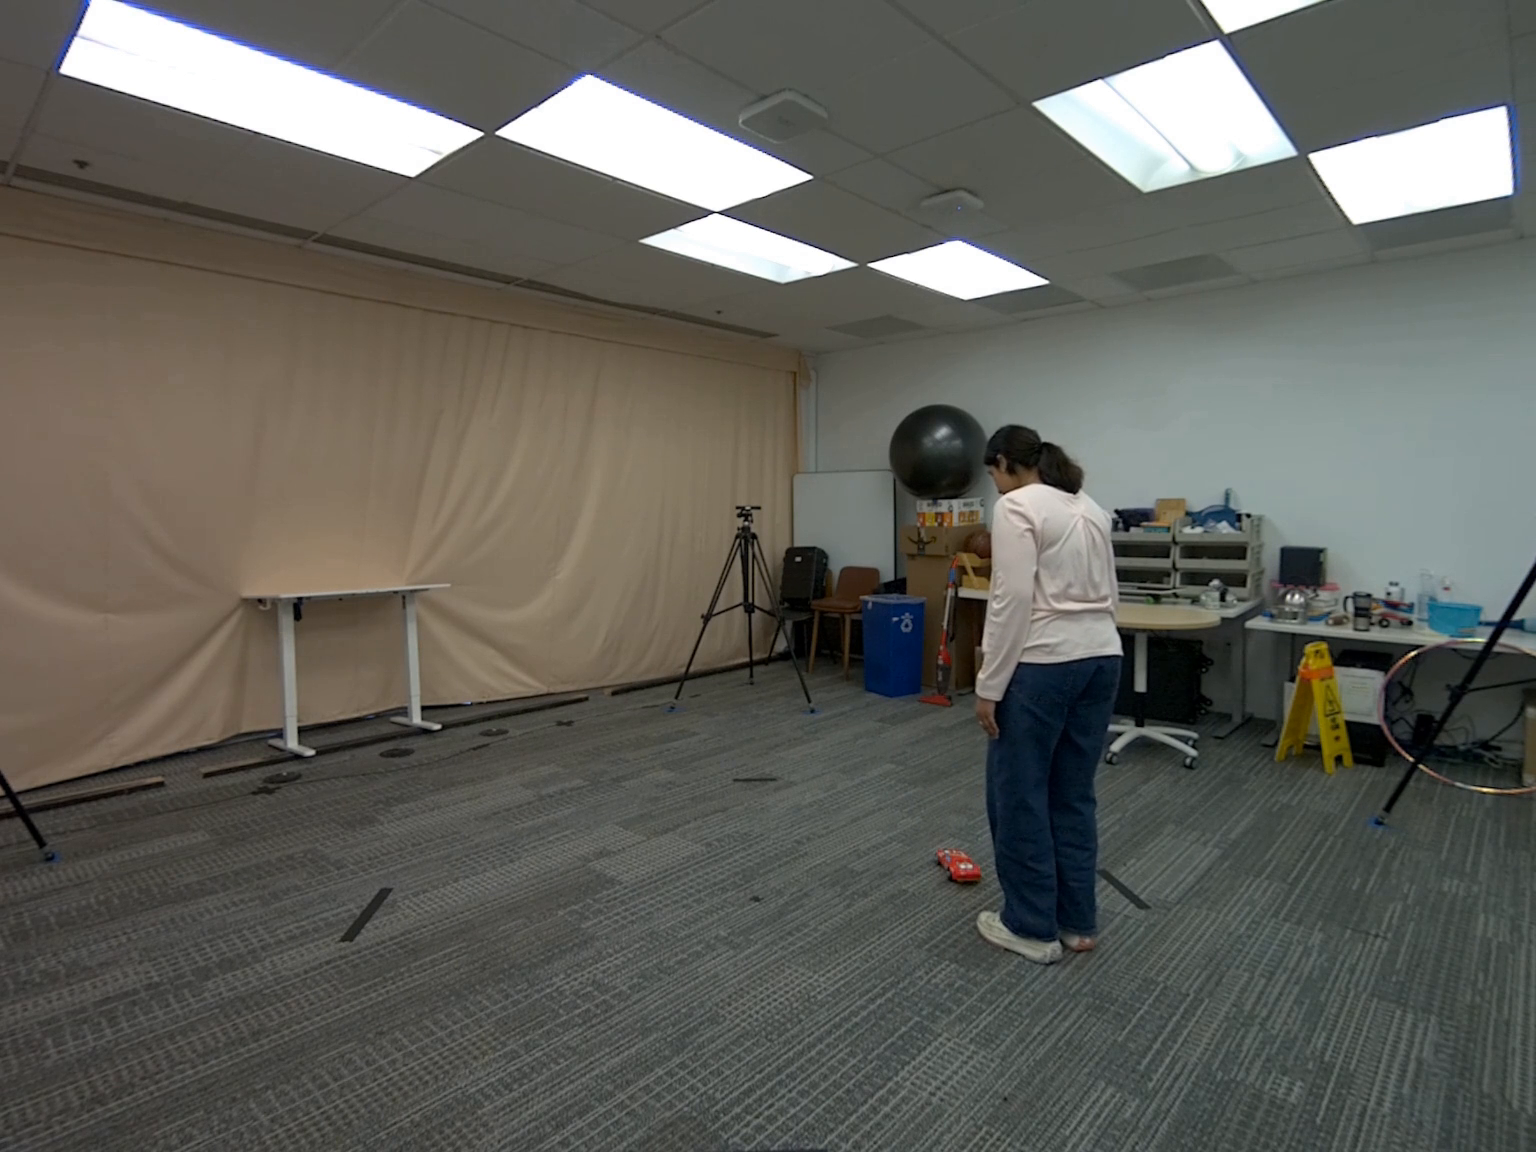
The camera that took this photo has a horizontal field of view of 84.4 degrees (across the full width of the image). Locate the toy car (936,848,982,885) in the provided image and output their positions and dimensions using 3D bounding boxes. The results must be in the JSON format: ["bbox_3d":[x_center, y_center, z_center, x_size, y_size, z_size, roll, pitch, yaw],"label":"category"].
[{"bbox_3d":[0.728,1.096,3.177,0.130,0.083,0.254,-2,-7,-5],"label":"toy car"}]
